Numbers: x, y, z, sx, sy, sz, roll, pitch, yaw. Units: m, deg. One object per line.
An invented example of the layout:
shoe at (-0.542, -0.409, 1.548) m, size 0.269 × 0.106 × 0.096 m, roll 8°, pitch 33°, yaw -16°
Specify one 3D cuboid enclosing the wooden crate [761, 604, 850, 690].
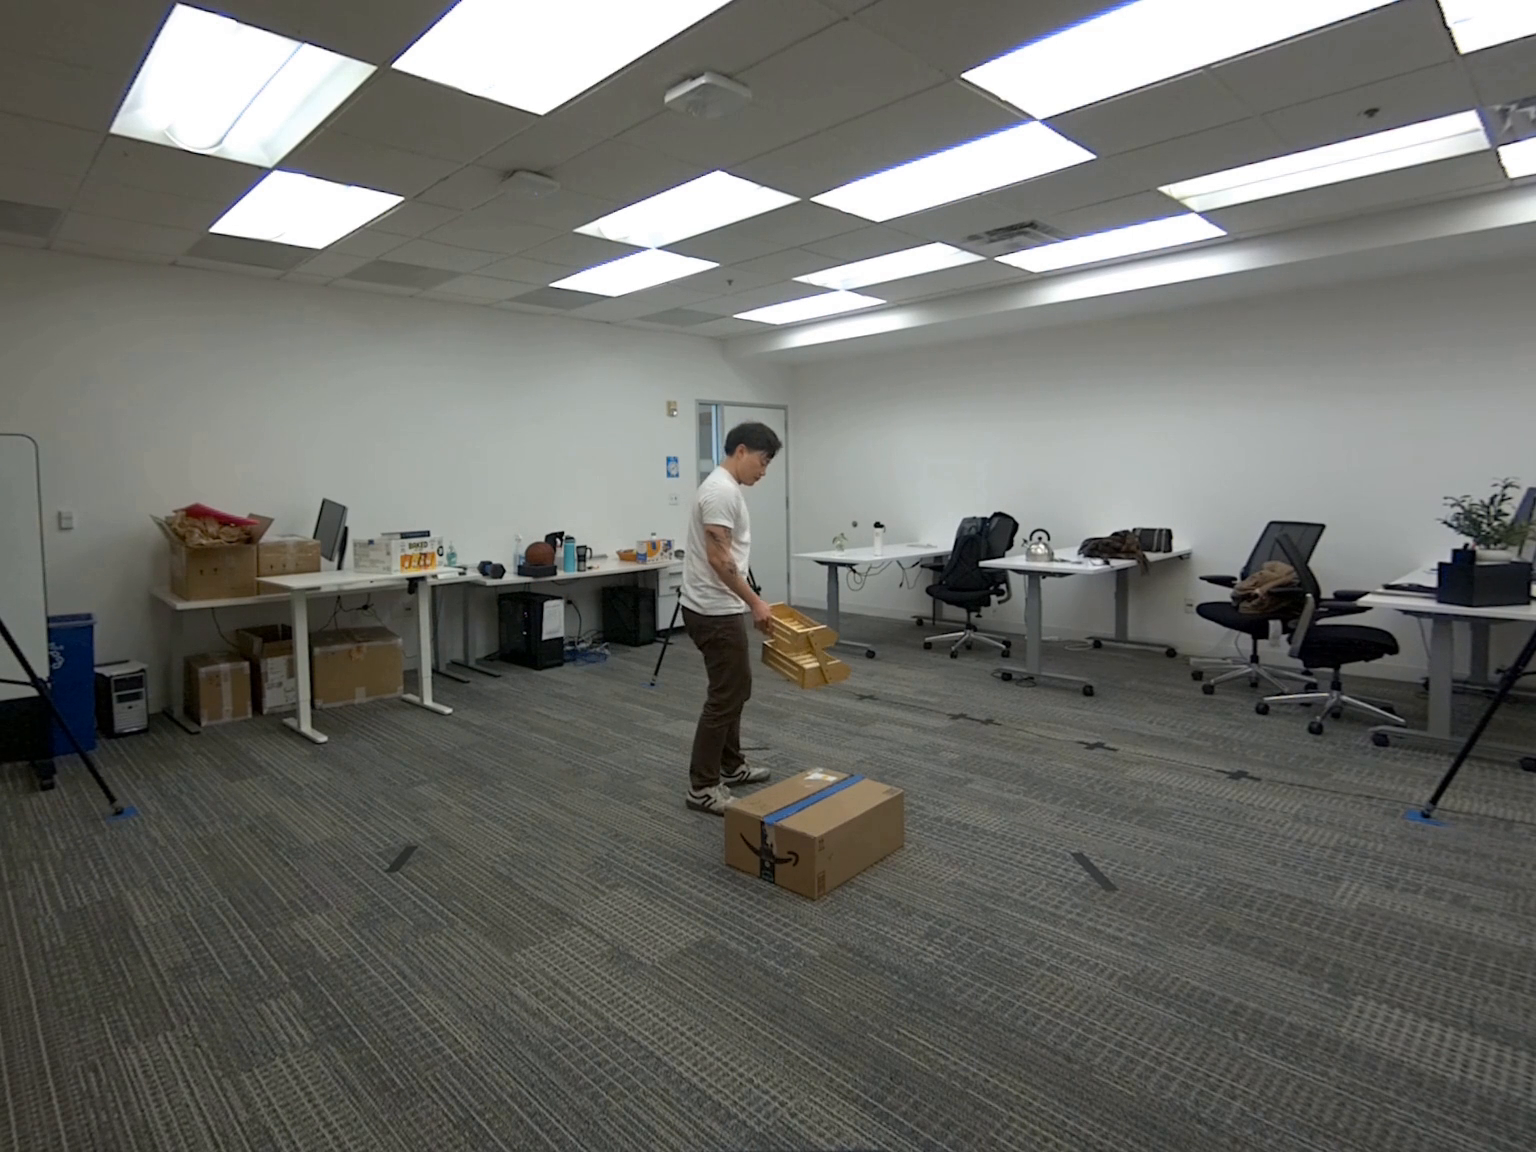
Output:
wooden crate at (0.158, 0.284, 3.585) m, size 0.295 × 0.269 × 0.336 m, roll -8°, pitch 20°, yaw -32°
